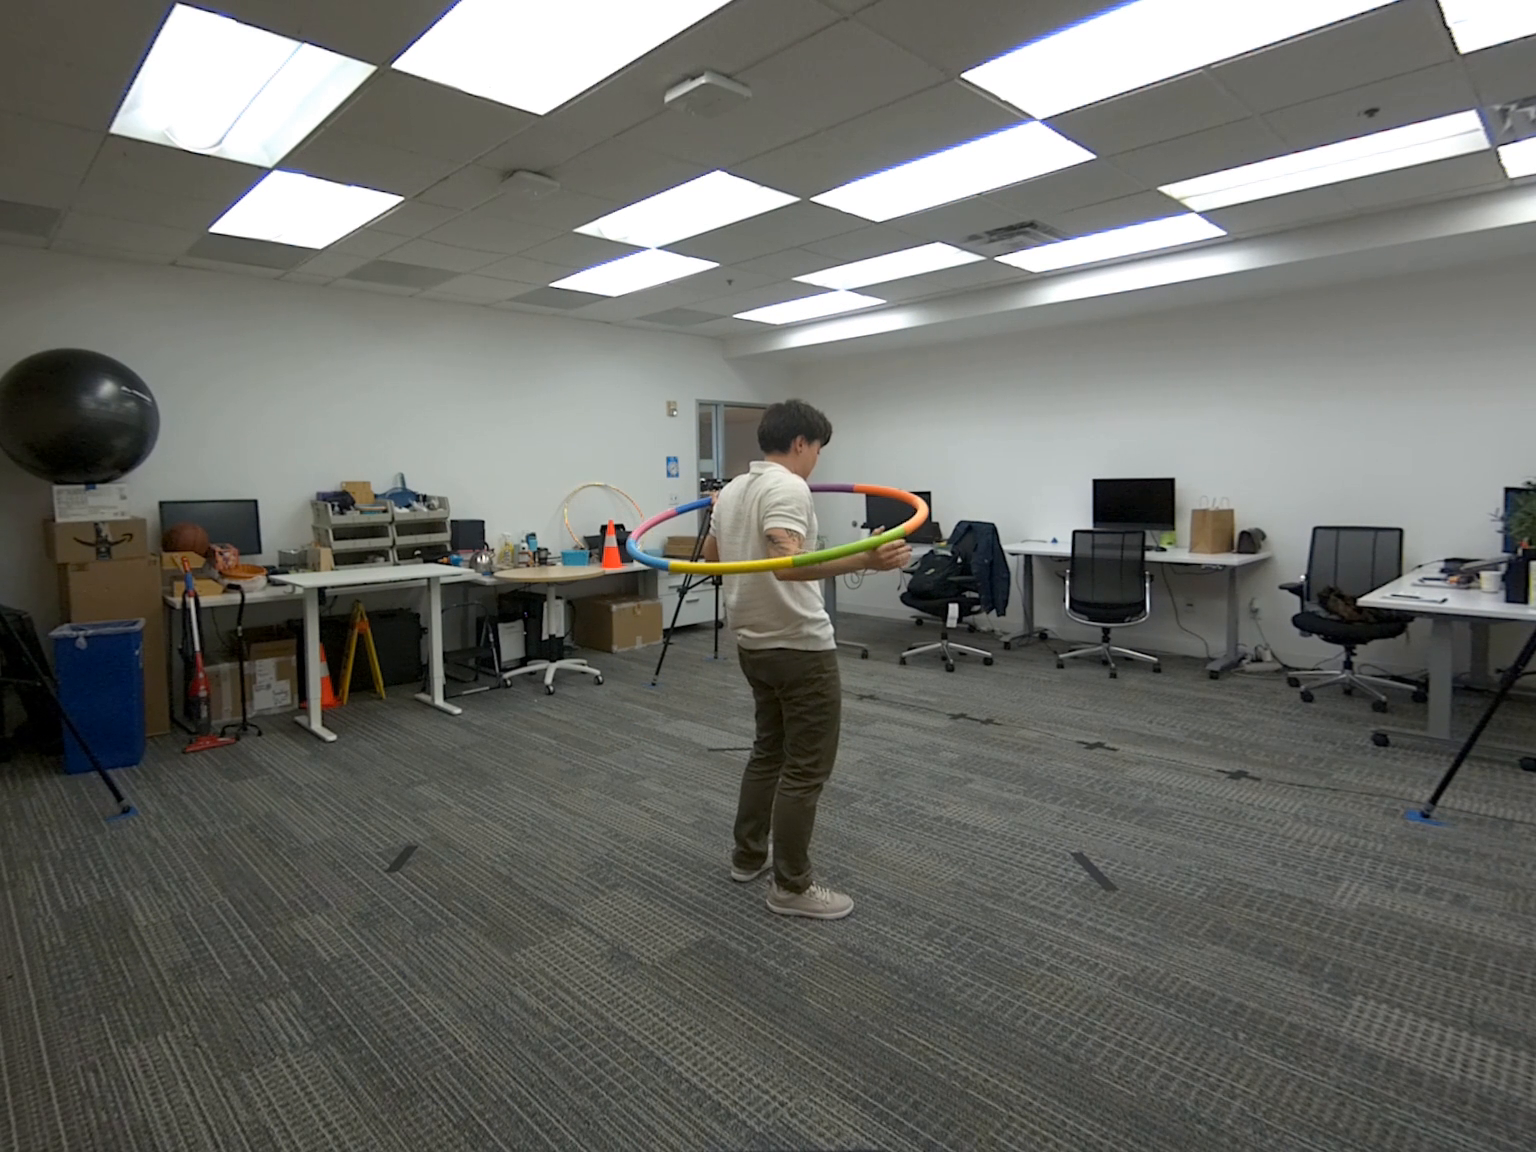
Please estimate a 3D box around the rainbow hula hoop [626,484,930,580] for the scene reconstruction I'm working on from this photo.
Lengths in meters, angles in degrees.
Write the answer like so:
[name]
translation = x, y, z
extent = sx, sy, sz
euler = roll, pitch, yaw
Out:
[rainbow hula hoop]
translation = 0.008, -0.173, 2.812
extent = 0.980, 0.035, 0.994
euler = -9, 18, 1
